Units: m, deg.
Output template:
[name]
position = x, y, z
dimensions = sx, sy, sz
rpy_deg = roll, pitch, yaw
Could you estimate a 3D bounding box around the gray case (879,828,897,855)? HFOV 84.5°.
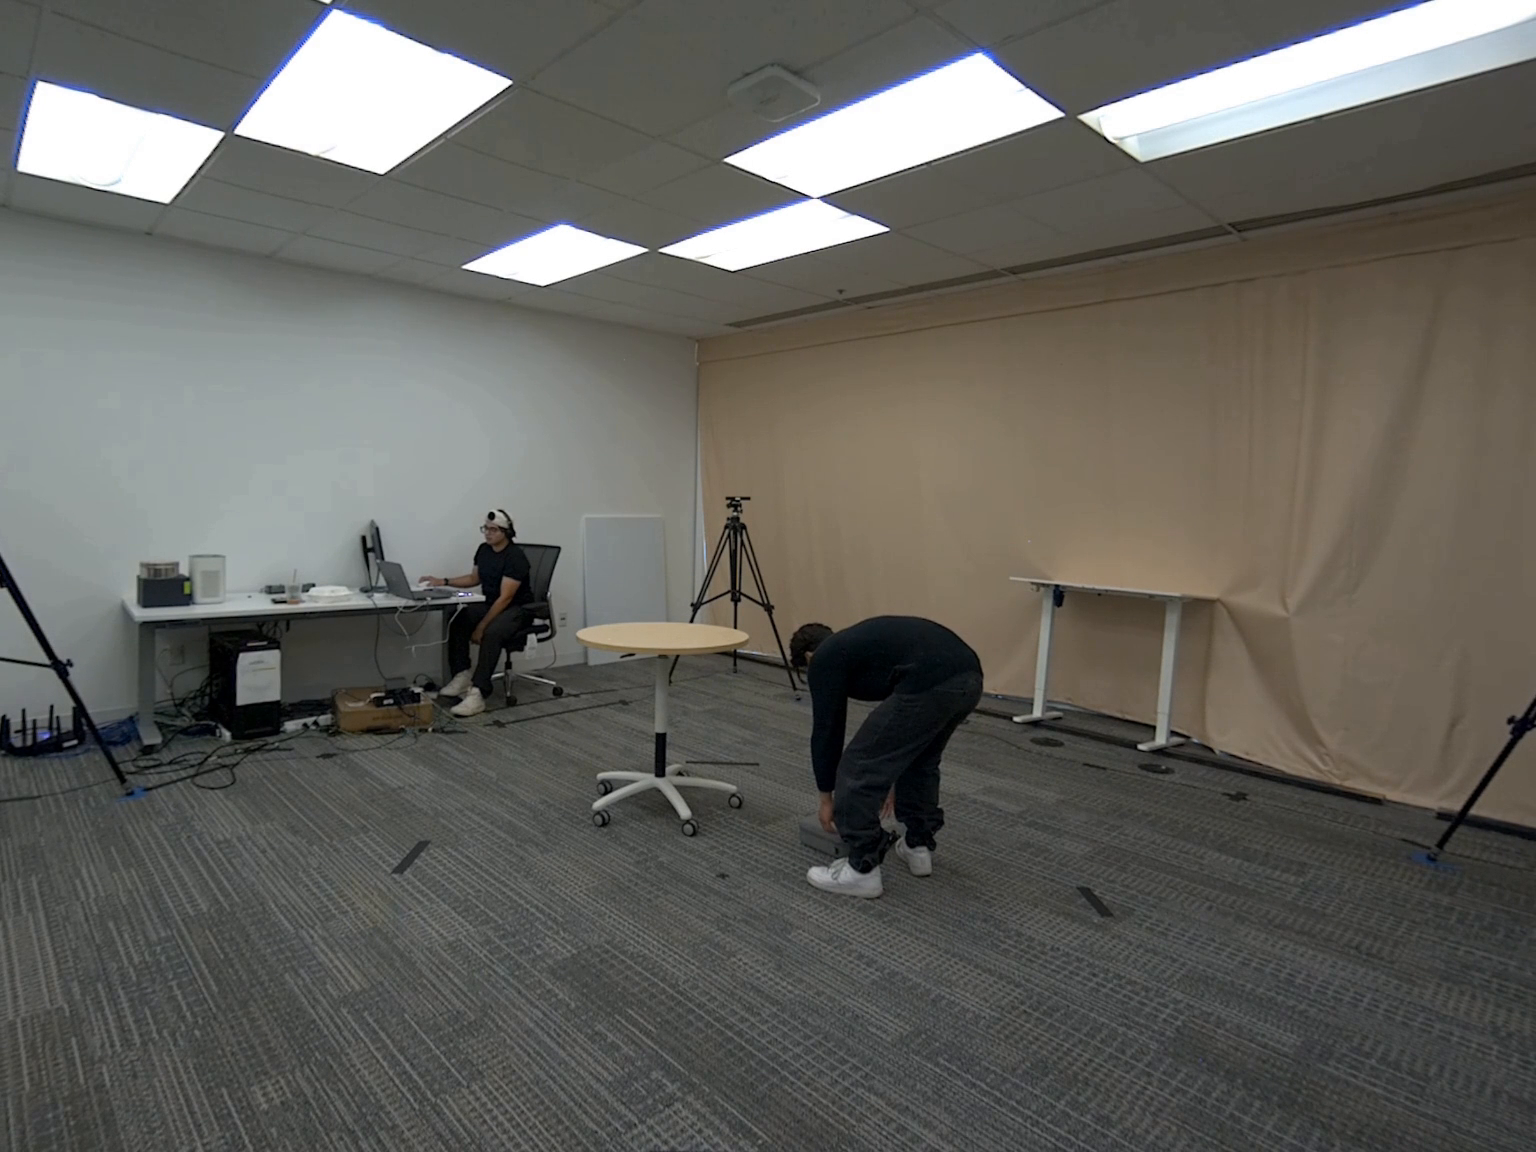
[gray case]
position = 0.301, 1.030, 3.409
dimensions = 0.251, 0.104, 0.267
rpy_deg = -1, 5, -44
